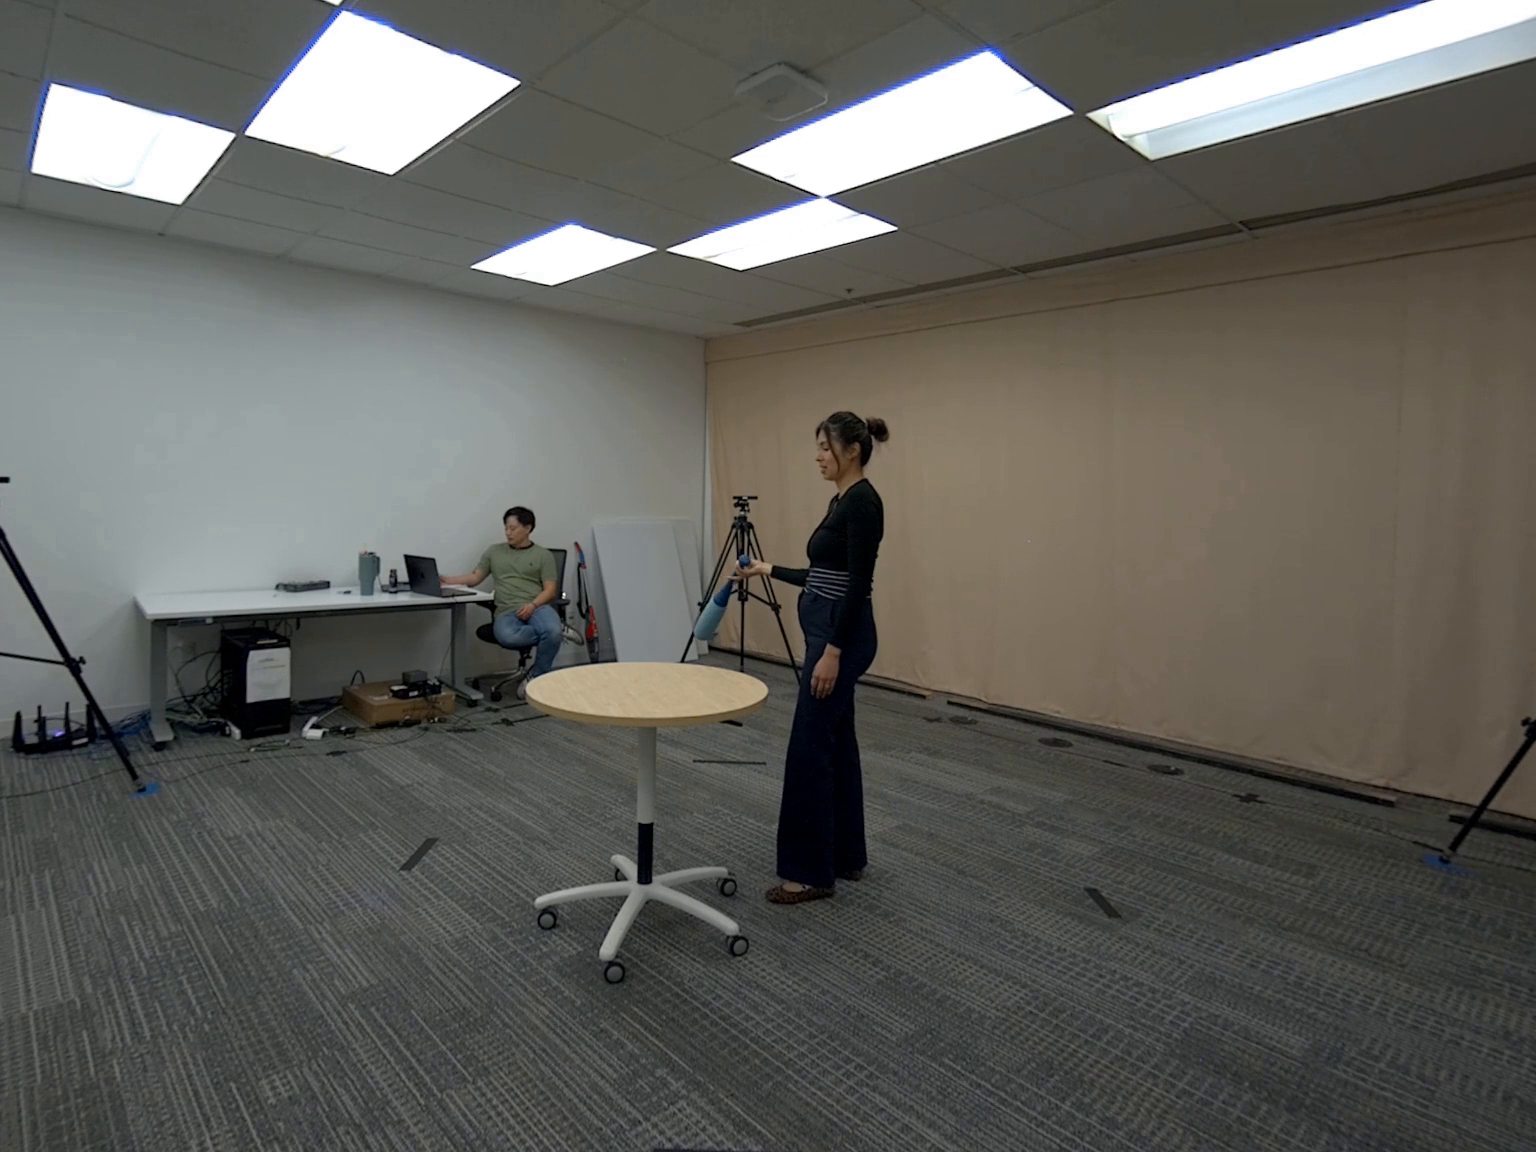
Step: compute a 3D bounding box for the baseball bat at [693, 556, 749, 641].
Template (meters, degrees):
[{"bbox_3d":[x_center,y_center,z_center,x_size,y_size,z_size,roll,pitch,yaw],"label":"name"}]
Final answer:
[{"bbox_3d":[-0.212,0.064,3.569,0.087,0.091,0.540,0,-36,-30],"label":"baseball bat"}]
